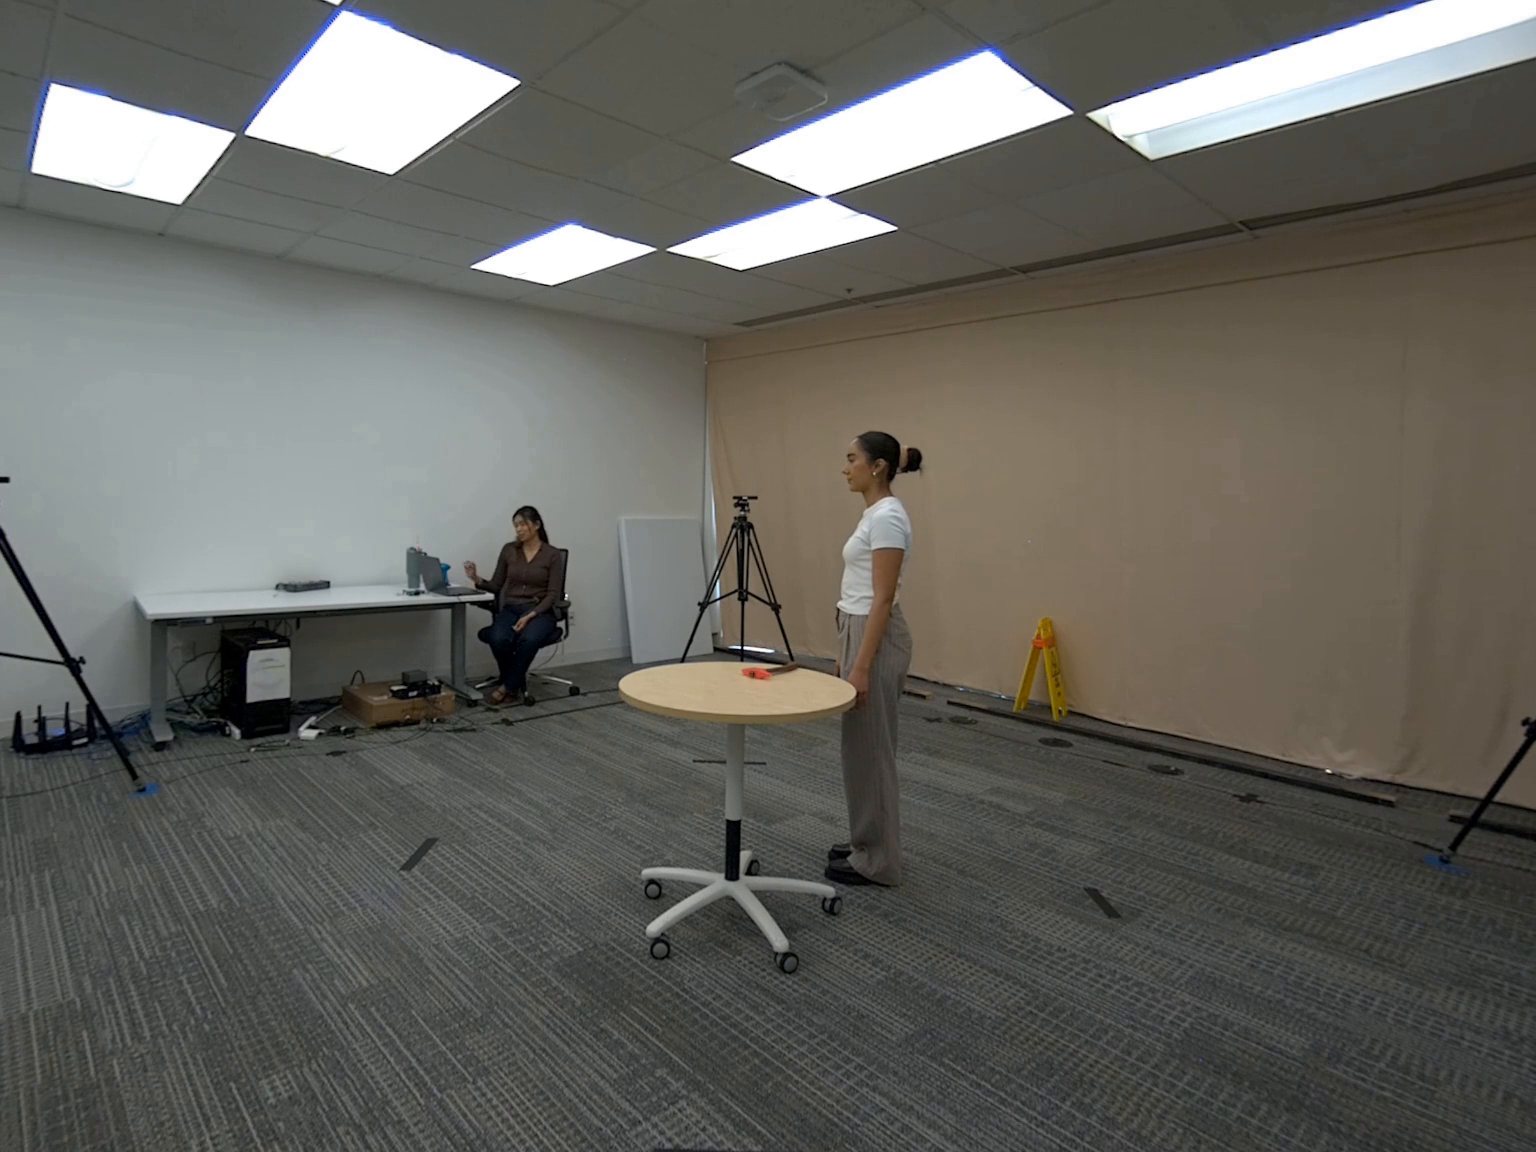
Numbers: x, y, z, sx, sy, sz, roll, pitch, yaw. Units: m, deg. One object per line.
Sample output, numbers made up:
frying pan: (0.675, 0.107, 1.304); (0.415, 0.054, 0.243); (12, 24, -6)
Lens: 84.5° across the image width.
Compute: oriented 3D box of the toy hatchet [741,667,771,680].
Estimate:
toy hatchet: (-0.002, 0.328, 2.950); (0.133, 0.029, 0.265); (-1, 1, 25)
